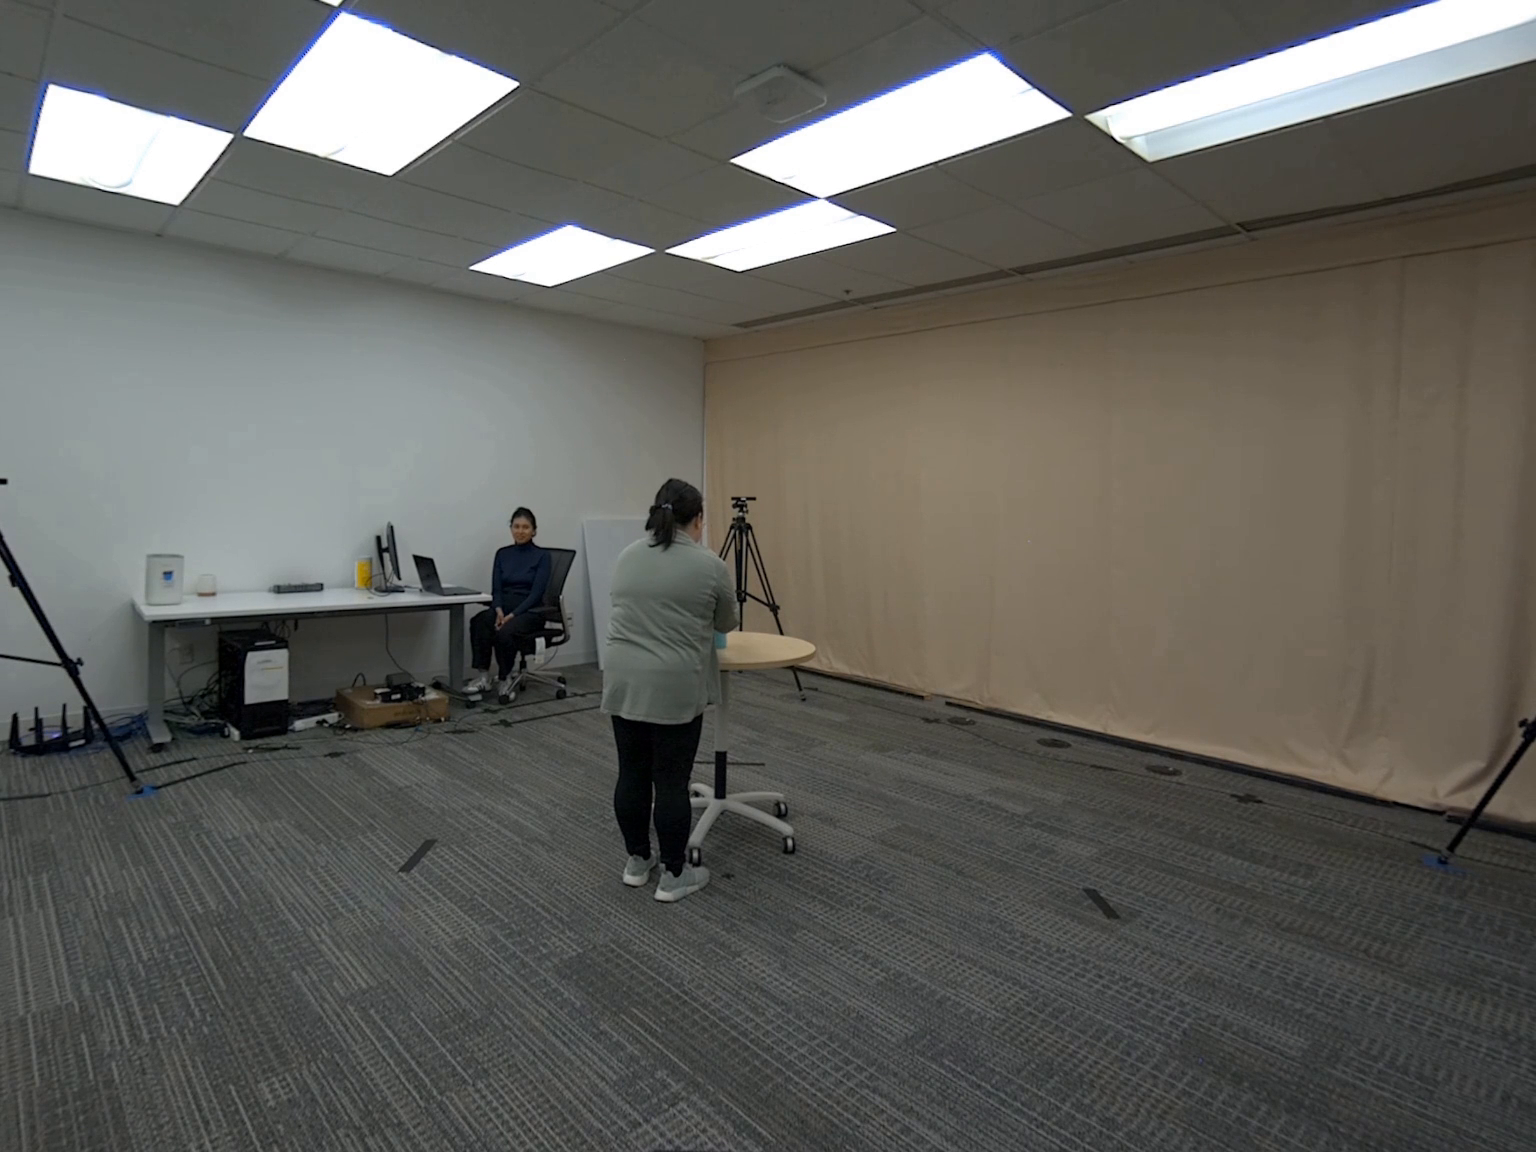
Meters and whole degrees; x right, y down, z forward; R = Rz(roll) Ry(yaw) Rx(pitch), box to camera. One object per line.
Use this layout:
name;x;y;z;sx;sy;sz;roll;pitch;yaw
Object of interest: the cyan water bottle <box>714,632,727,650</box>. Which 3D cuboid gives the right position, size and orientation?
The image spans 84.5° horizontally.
cyan water bottle;-0.220;0.155;3.453;0.092;0.283;0.092;1;3;-1
